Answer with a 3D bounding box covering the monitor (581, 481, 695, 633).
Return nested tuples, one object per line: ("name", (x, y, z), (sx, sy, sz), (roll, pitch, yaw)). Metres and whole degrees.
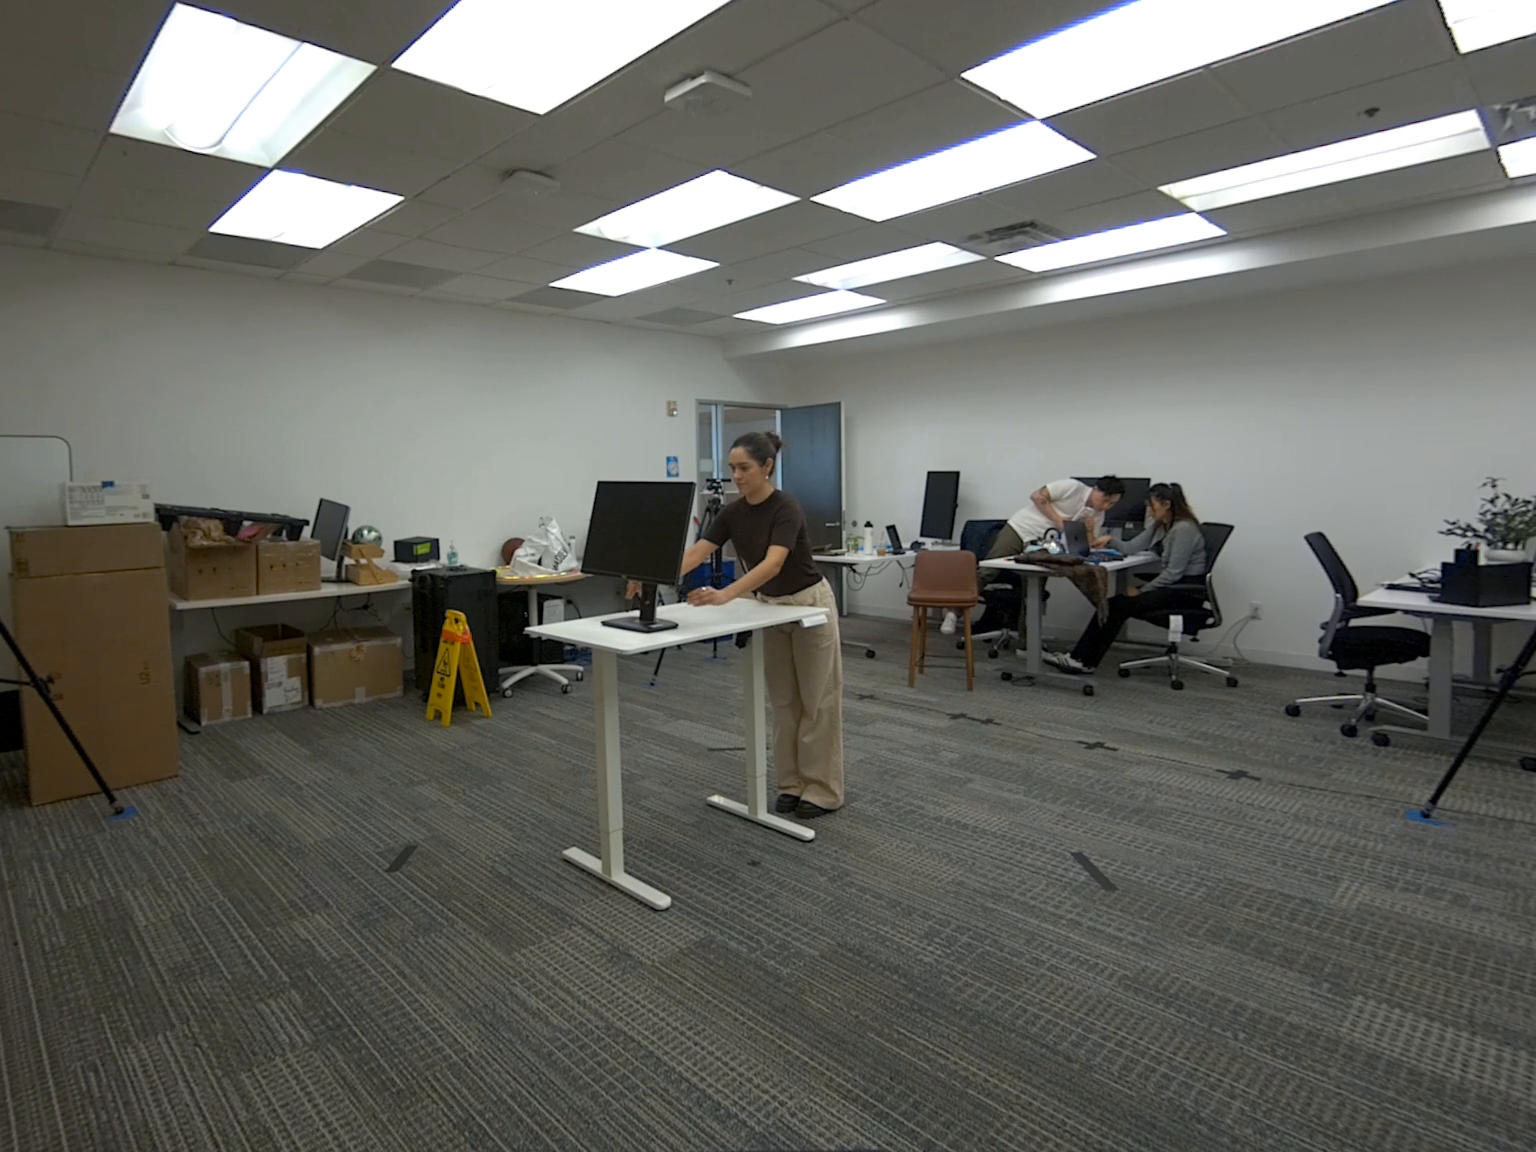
("monitor", (-0.452, -0.077, 3.027), (0.547, 0.513, 0.170), (6, 10, 43))
